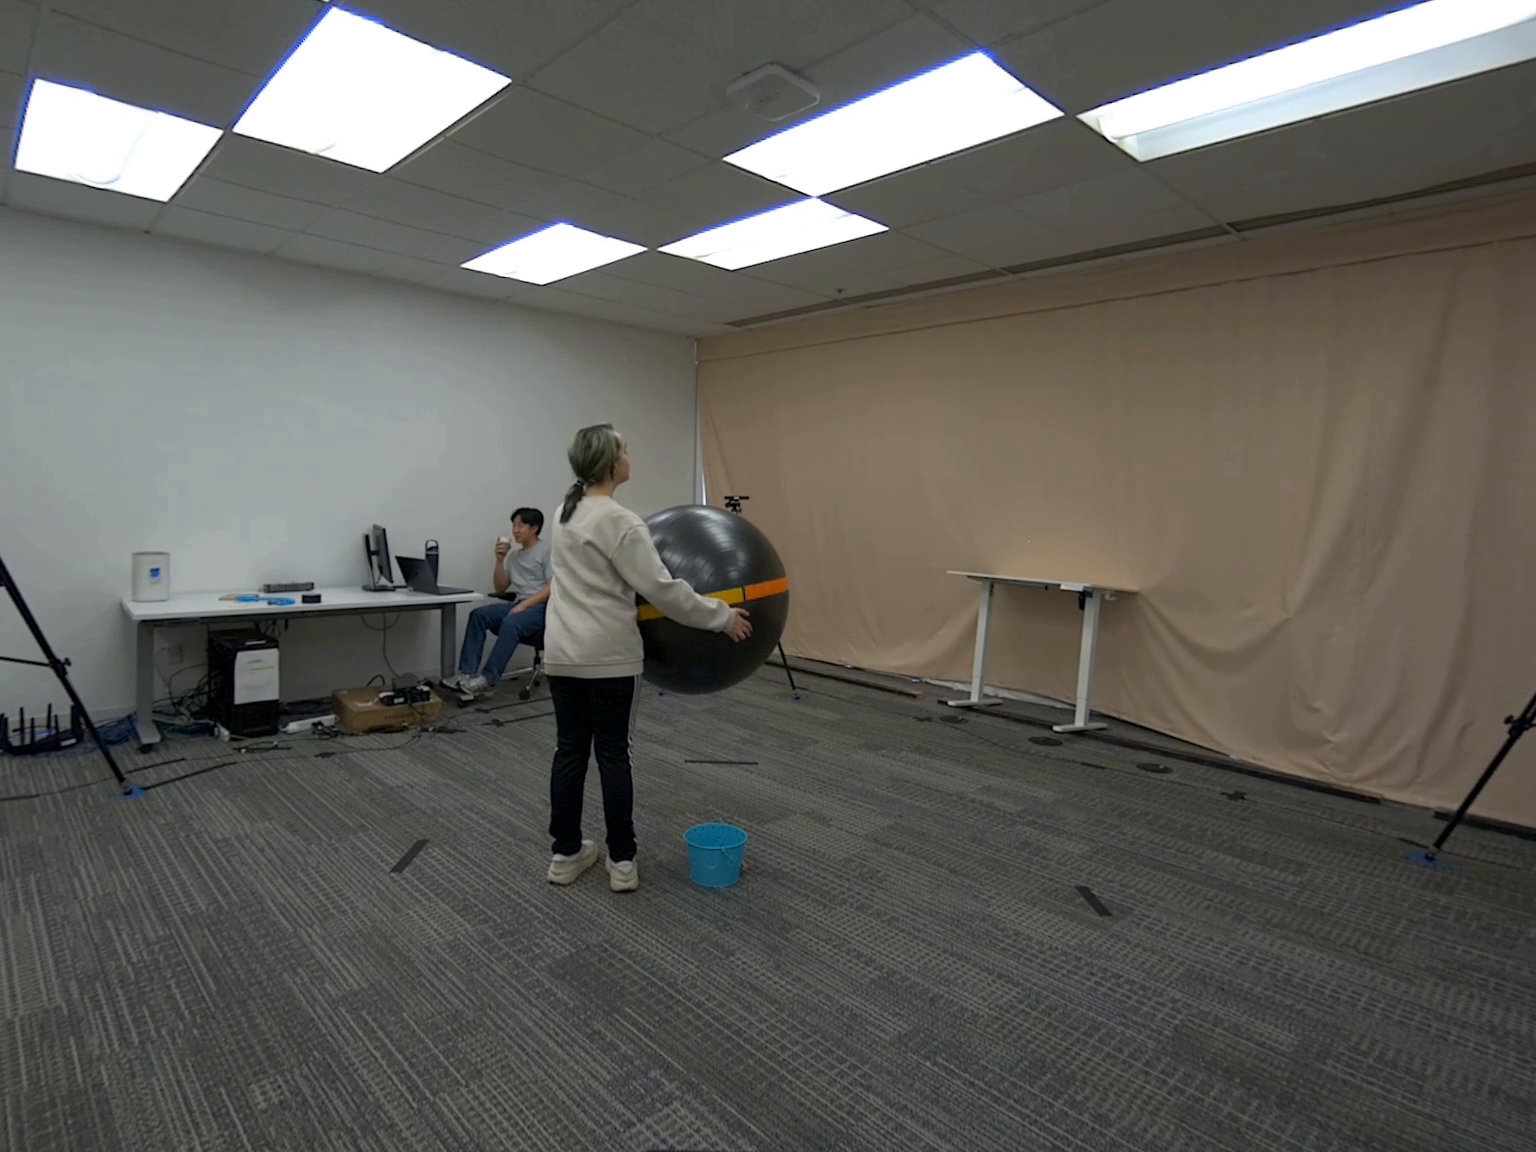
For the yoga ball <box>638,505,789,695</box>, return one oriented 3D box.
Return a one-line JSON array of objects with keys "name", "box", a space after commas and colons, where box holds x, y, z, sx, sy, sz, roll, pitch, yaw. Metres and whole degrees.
[{"name": "yoga ball", "box": [-0.300, 0.096, 3.379, 0.757, 0.756, 0.761, 1, 4, -1]}]
